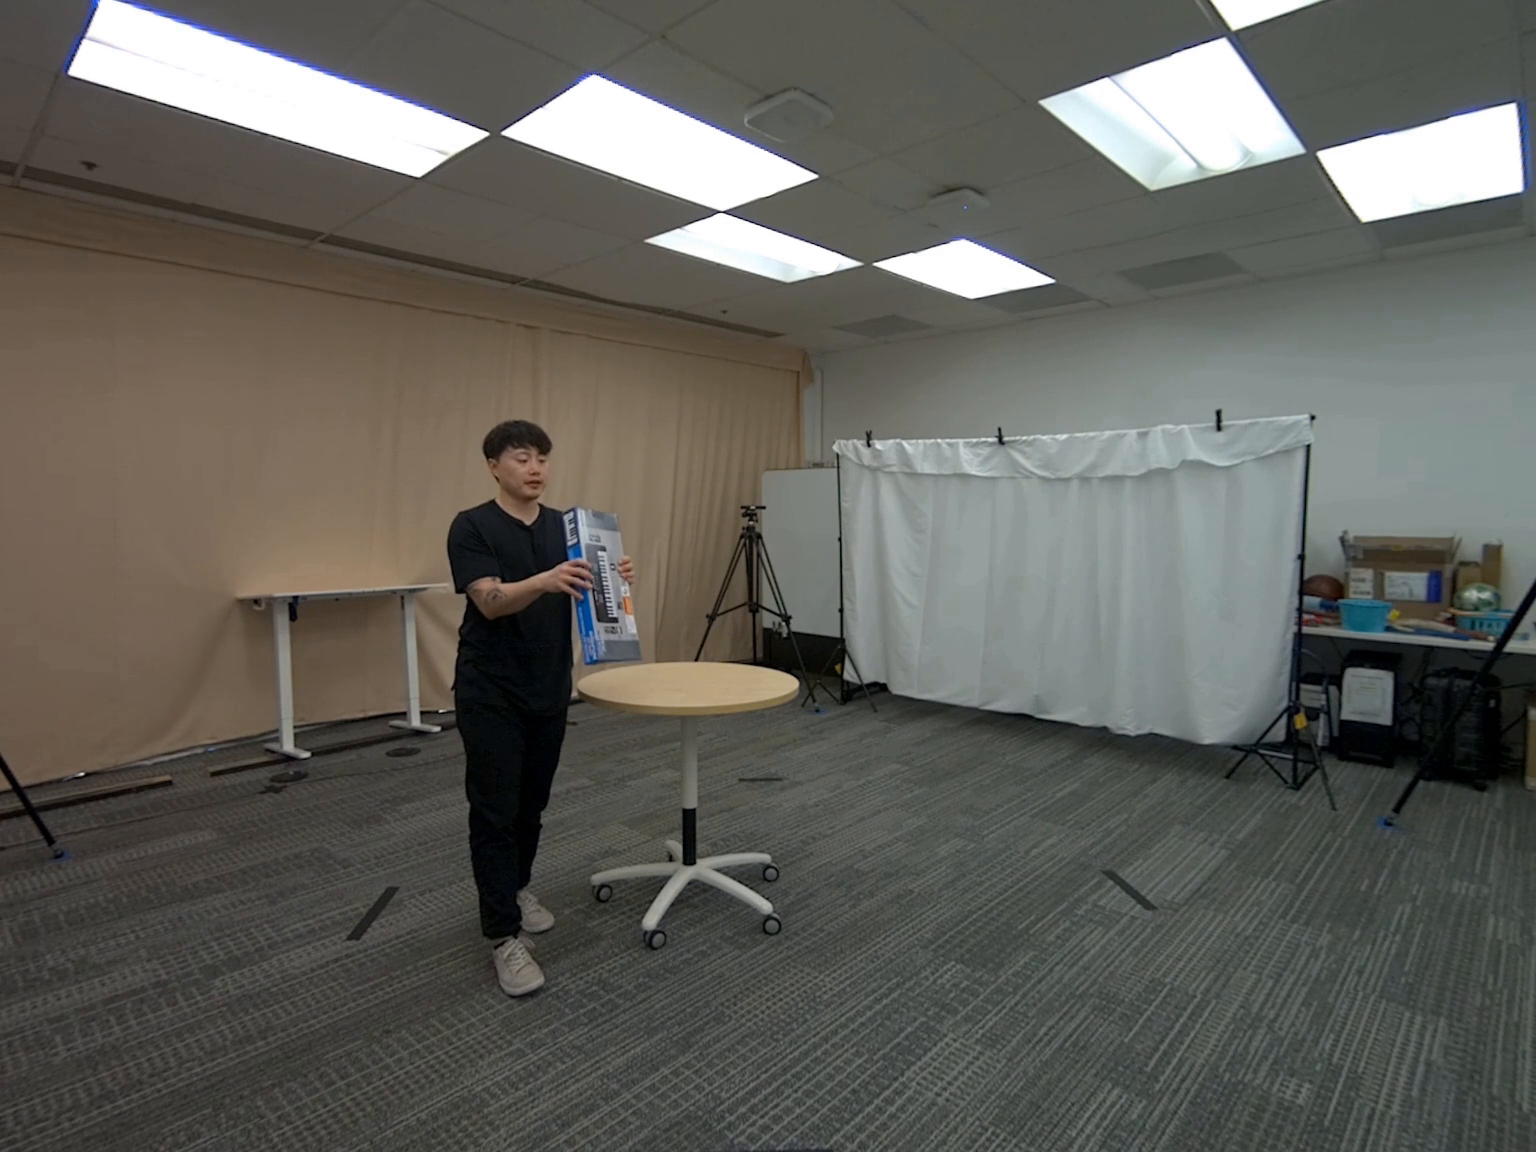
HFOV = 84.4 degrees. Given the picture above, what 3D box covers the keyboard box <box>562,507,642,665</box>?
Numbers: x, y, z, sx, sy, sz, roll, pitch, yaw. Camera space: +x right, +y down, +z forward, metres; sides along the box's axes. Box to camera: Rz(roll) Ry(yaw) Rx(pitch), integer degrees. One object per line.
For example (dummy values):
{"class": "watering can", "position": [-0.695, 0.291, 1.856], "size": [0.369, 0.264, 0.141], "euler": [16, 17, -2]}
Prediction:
{"class": "keyboard box", "position": [-0.467, 0.027, 2.360], "size": [0.060, 0.442, 0.170], "euler": [-22, -18, 32]}
